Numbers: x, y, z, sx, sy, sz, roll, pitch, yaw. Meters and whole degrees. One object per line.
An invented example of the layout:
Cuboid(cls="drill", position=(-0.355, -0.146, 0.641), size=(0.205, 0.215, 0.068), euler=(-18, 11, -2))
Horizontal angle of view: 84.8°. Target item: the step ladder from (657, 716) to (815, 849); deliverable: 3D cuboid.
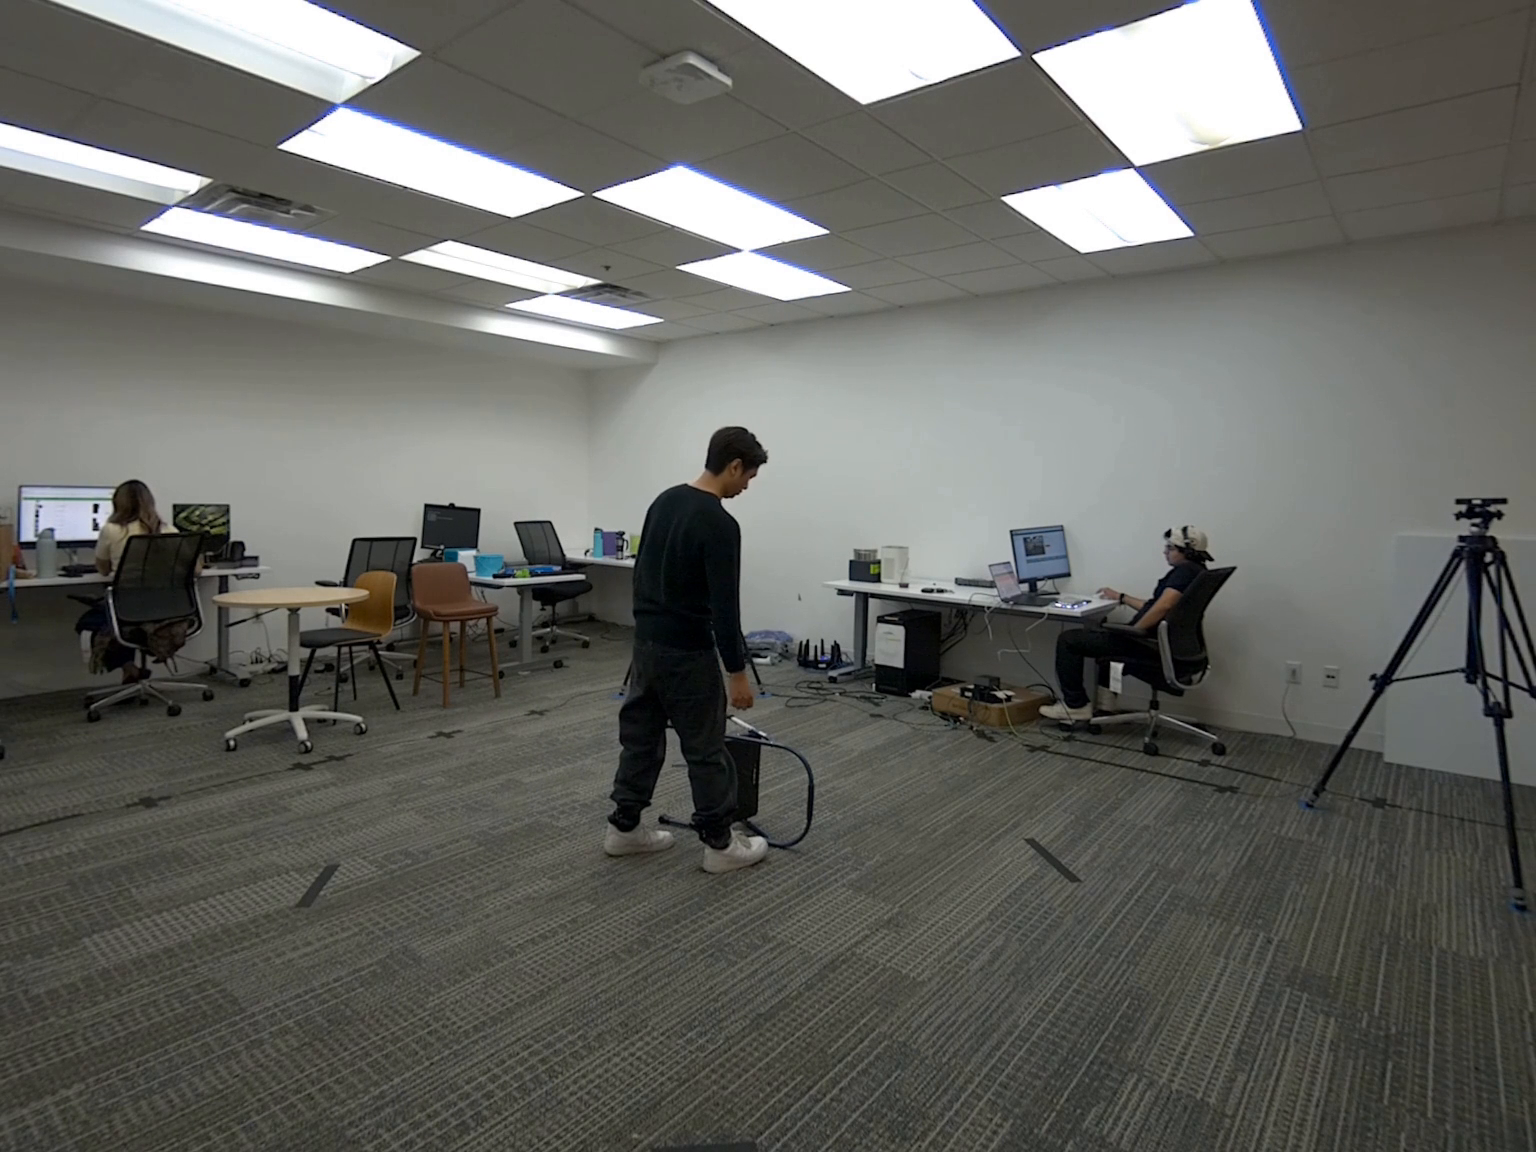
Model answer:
Cuboid(cls="step ladder", position=(-0.112, 0.835, 3.422), size=(0.627, 0.429, 0.338), euler=(7, 6, 44))
